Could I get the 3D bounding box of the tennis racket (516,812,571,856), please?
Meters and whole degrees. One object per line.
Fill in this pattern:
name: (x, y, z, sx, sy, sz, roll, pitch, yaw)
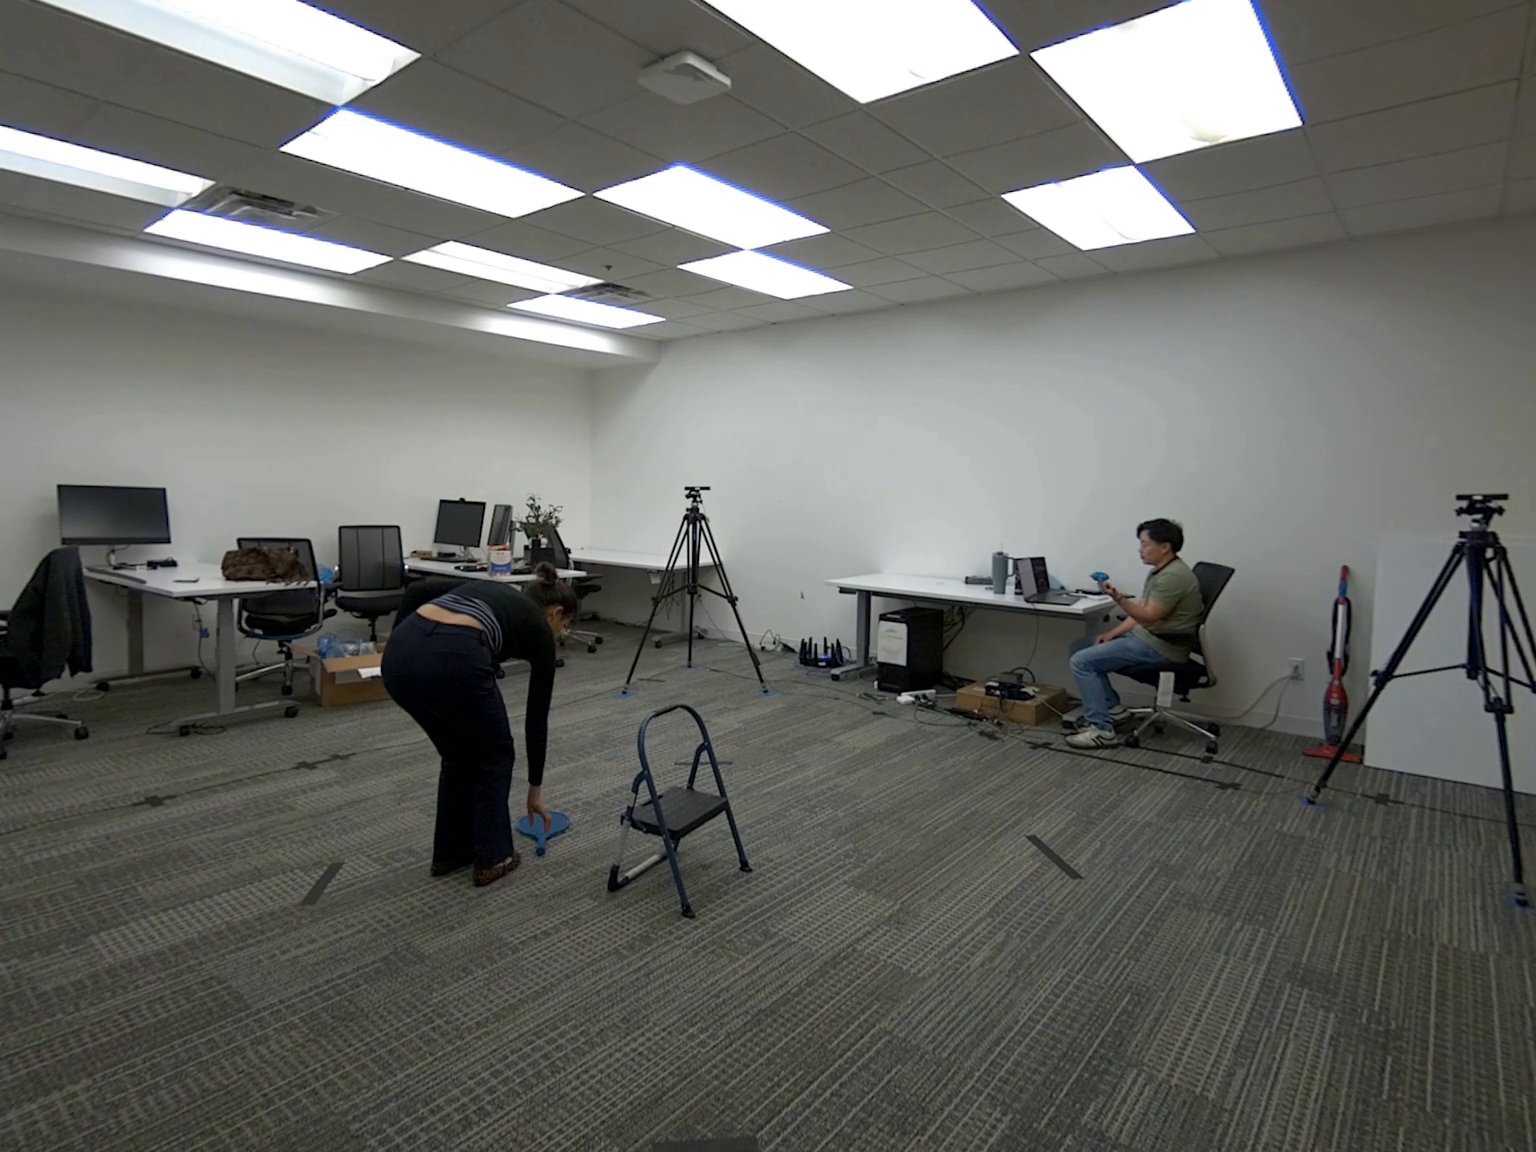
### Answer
tennis racket: (-0.910, 1.011, 3.394, 0.211, 0.032, 0.440, 0, 4, -14)
